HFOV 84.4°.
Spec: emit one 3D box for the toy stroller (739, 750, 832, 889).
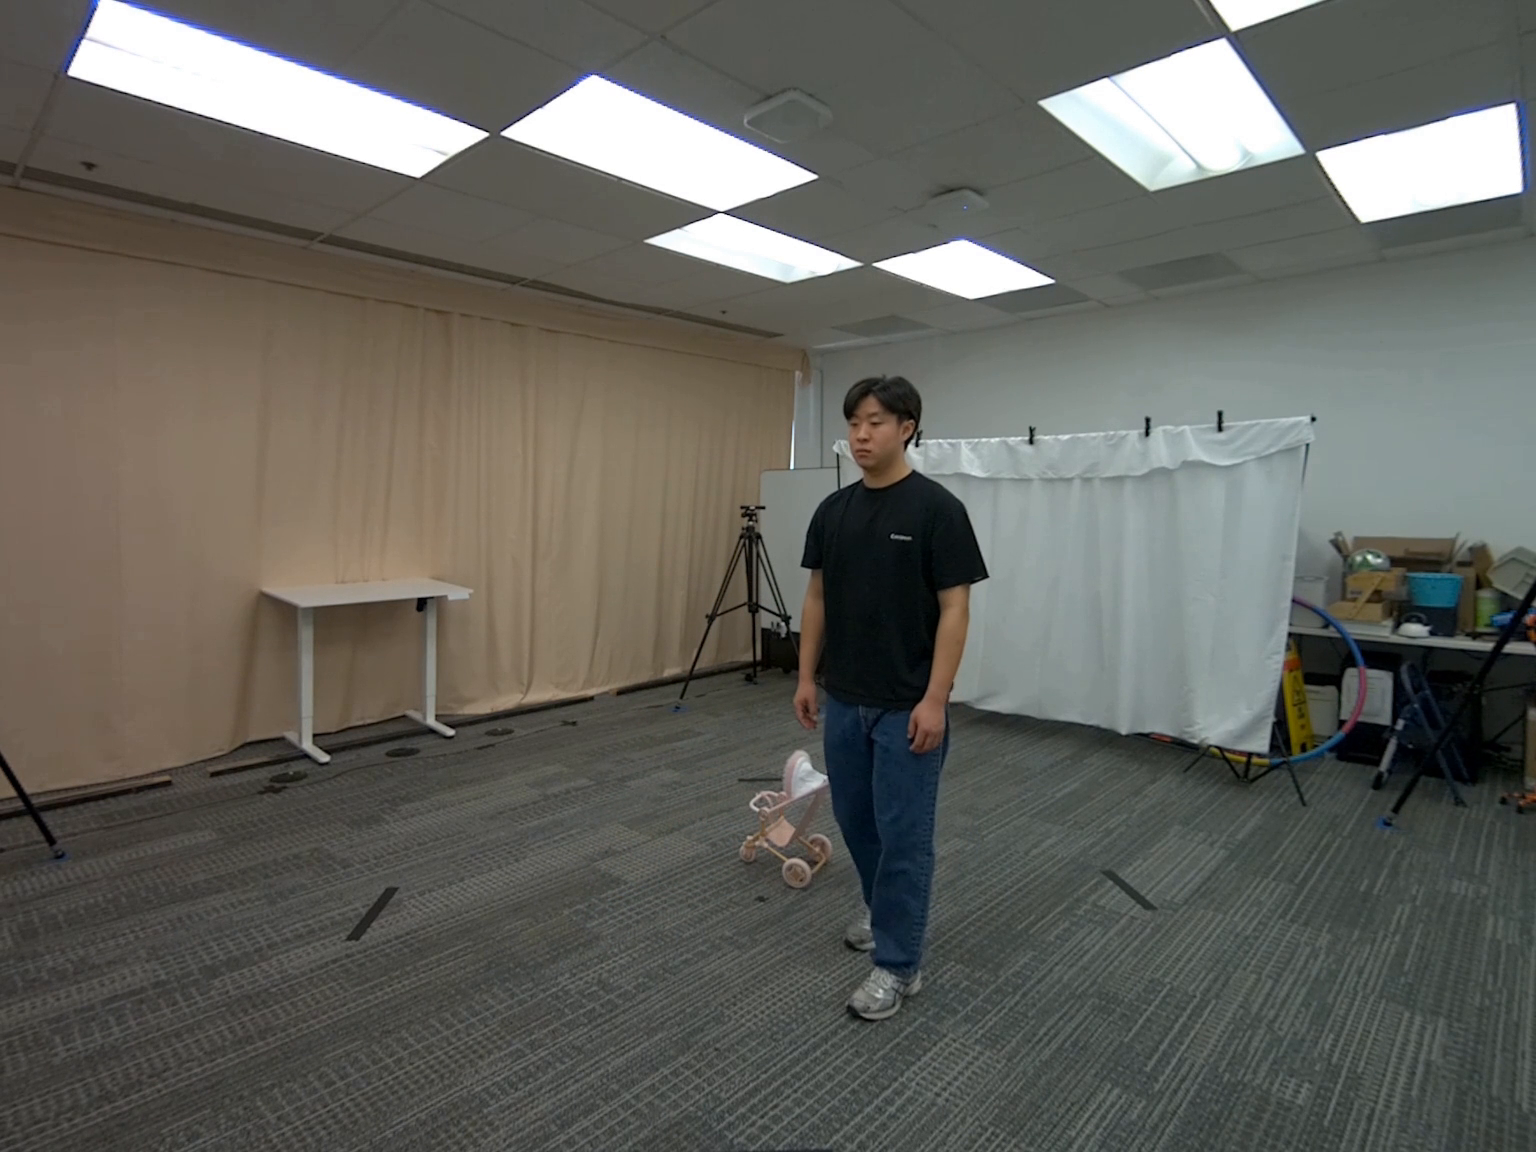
[{"bbox_3d":[0.096,0.900,3.197,0.352,0.533,0.274,20,12,27],"label":"toy stroller"}]
